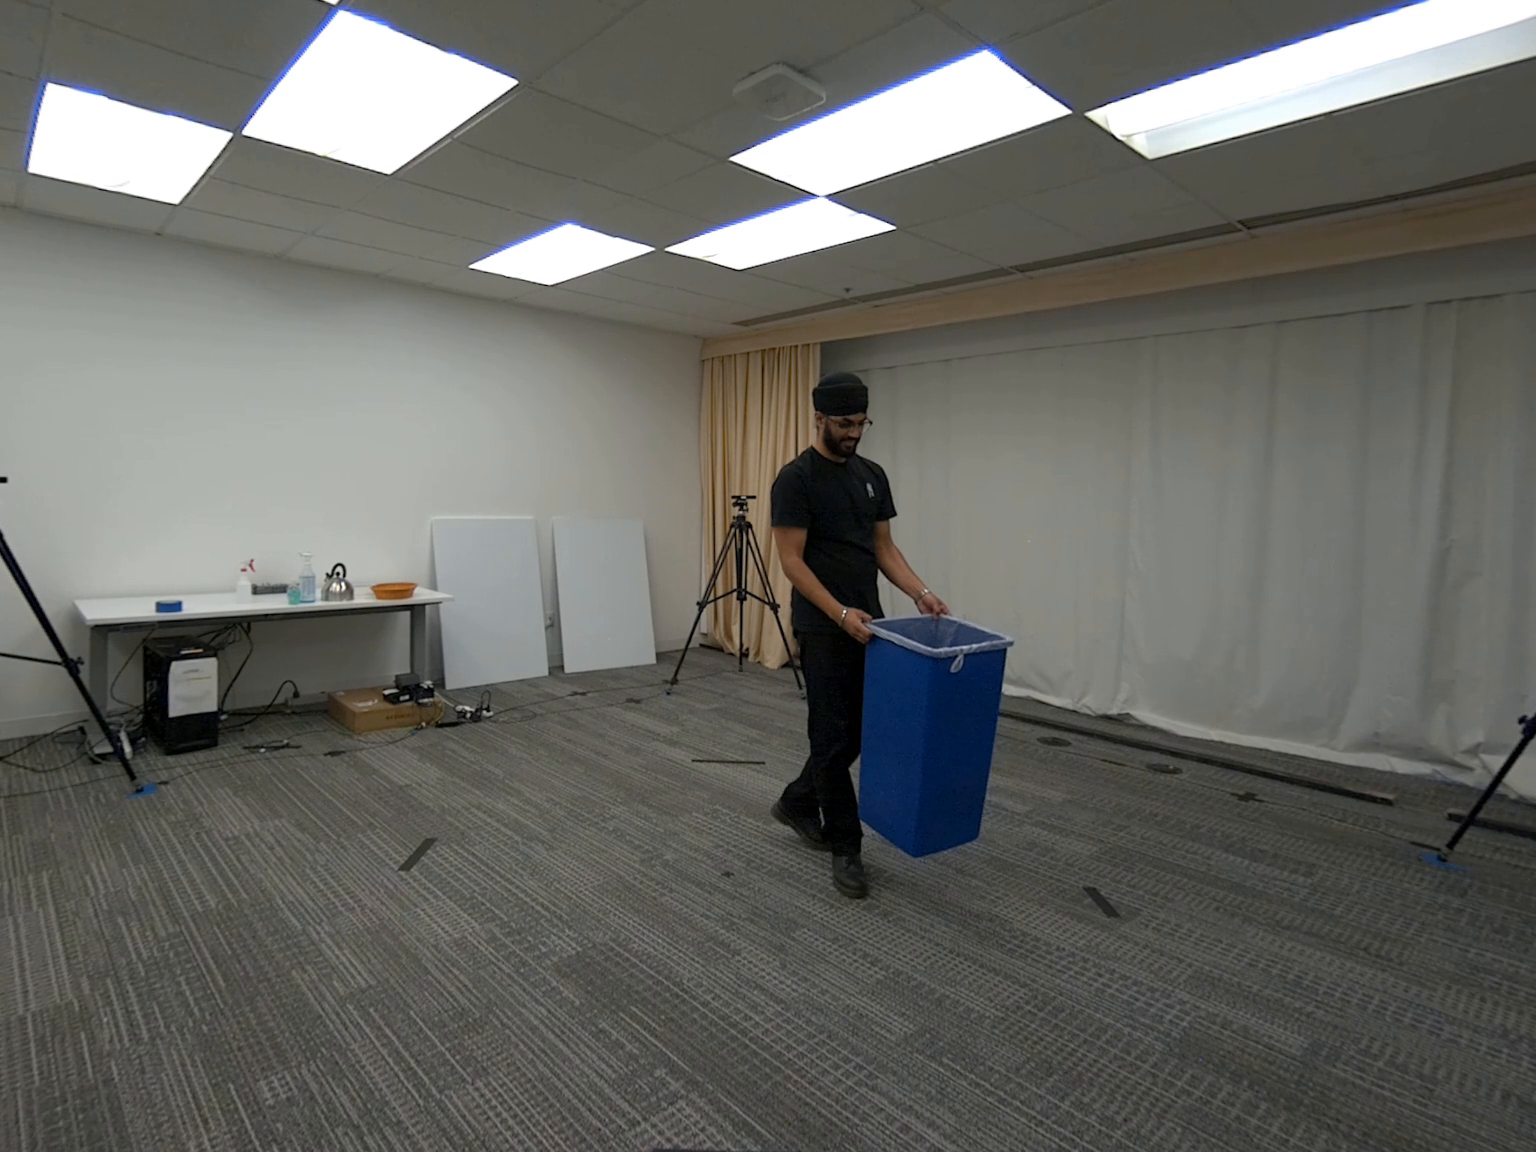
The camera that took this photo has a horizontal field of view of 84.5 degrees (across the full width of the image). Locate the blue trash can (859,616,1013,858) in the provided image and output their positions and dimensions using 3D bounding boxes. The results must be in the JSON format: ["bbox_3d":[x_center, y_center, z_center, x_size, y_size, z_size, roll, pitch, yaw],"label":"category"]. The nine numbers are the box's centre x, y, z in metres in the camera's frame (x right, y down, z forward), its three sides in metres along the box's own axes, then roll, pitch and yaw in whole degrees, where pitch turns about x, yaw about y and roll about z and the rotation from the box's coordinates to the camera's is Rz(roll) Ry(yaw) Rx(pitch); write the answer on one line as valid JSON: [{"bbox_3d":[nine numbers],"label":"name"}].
[{"bbox_3d":[0.528,0.528,2.867,0.370,0.708,0.384,-3,12,-32],"label":"blue trash can"}]
